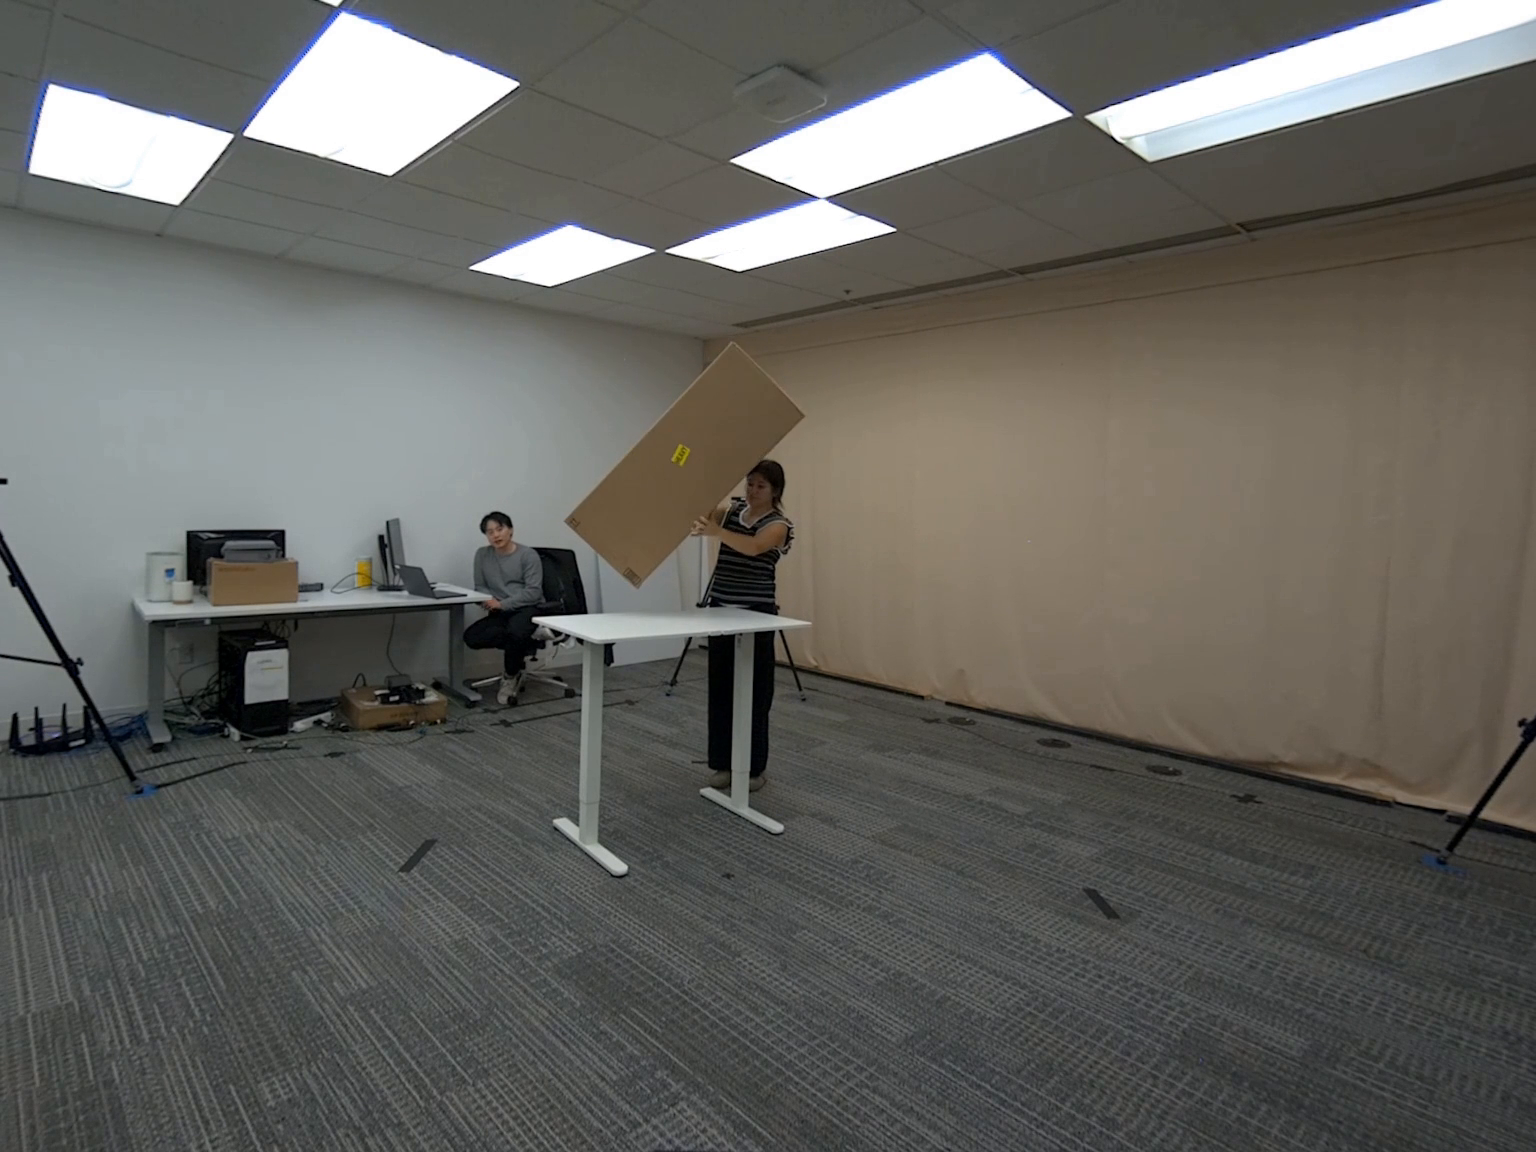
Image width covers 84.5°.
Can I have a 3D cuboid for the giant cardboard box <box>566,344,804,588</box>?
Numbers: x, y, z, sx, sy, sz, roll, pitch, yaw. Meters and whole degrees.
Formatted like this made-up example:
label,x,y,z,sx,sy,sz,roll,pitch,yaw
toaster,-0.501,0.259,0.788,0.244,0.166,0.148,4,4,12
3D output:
label,x,y,z,sx,sy,sz,roll,pitch,yaw
giant cardboard box,-0.374,-0.496,3.759,0.423,1.026,0.582,44,7,-9
